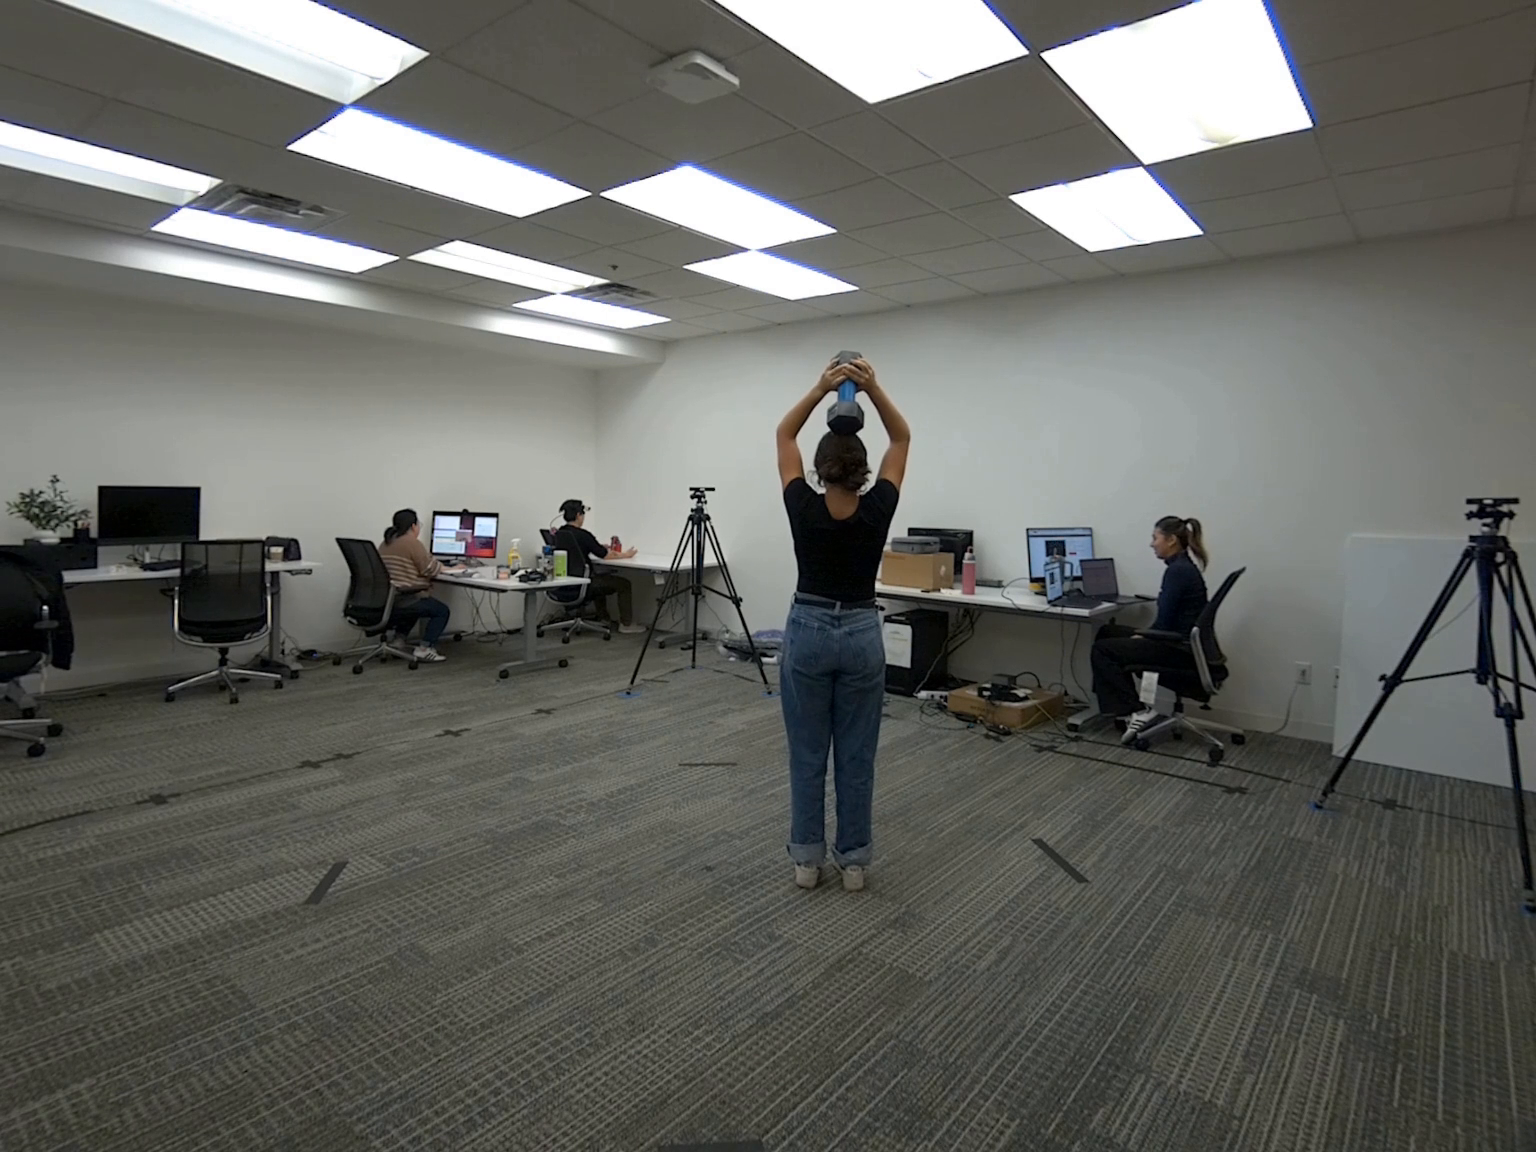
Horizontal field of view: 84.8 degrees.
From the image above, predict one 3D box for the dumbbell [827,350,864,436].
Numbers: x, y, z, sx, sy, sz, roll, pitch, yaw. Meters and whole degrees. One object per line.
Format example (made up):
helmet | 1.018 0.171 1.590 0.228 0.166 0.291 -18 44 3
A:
dumbbell | 0.255 -0.604 2.837 0.111 0.300 0.118 -11 -34 28
